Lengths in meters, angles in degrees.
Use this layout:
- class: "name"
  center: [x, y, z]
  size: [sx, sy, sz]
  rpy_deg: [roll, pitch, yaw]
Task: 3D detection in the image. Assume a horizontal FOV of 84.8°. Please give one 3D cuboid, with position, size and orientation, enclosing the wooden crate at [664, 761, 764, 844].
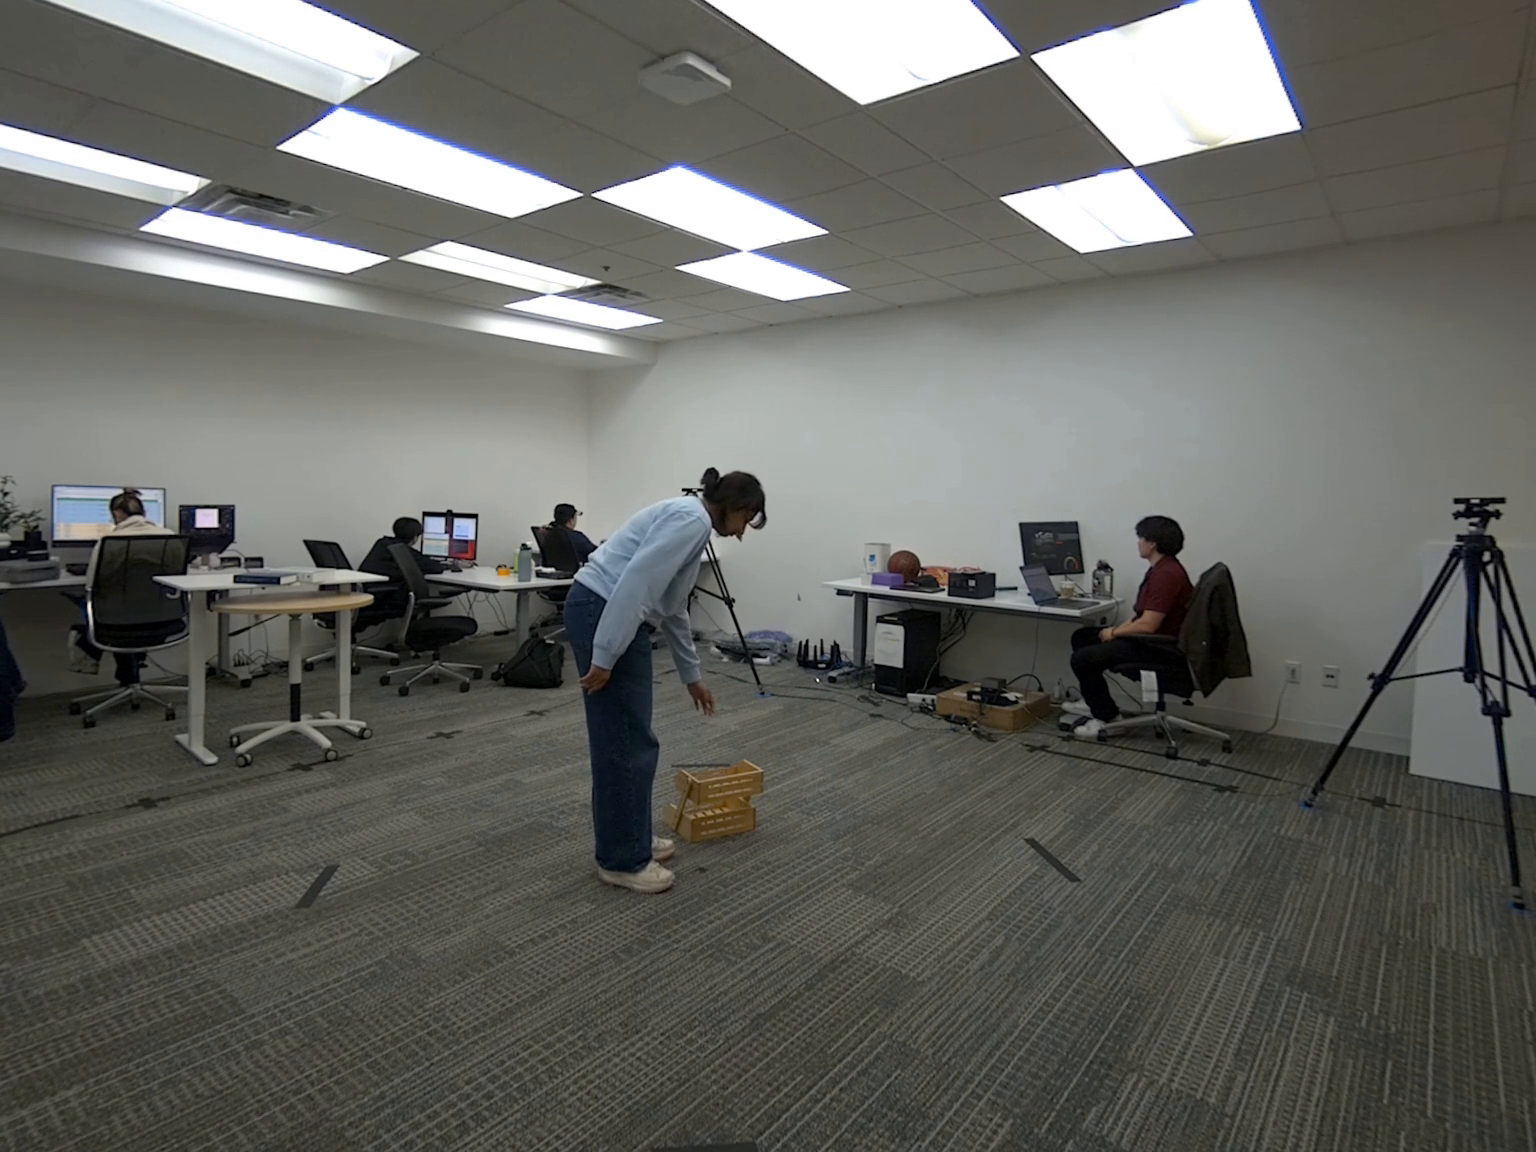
- class: "wooden crate"
  center: [-0.240, 0.897, 3.500]
  size: [0.316, 0.272, 0.311]
  rpy_deg: [-2, 6, -31]
